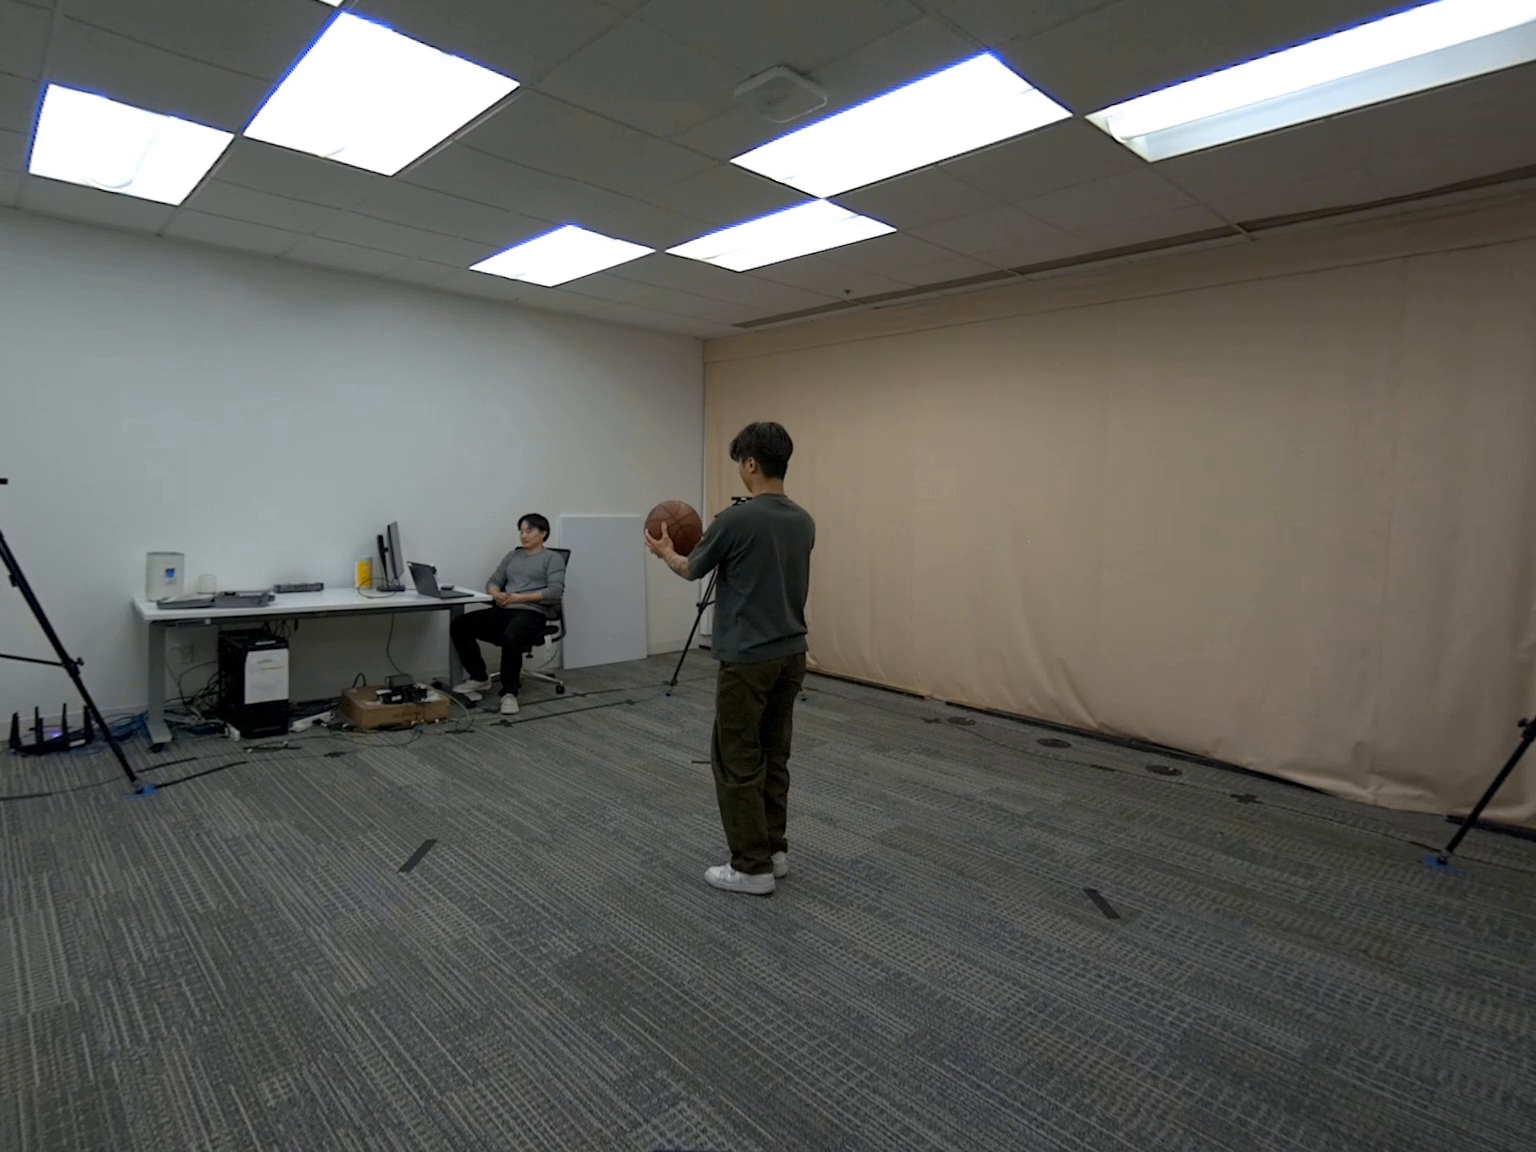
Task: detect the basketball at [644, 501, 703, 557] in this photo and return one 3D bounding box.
[{"bbox_3d":[-0.395,-0.183,3.438,0.236,0.235,0.237,1,4,-1],"label":"basketball"}]
